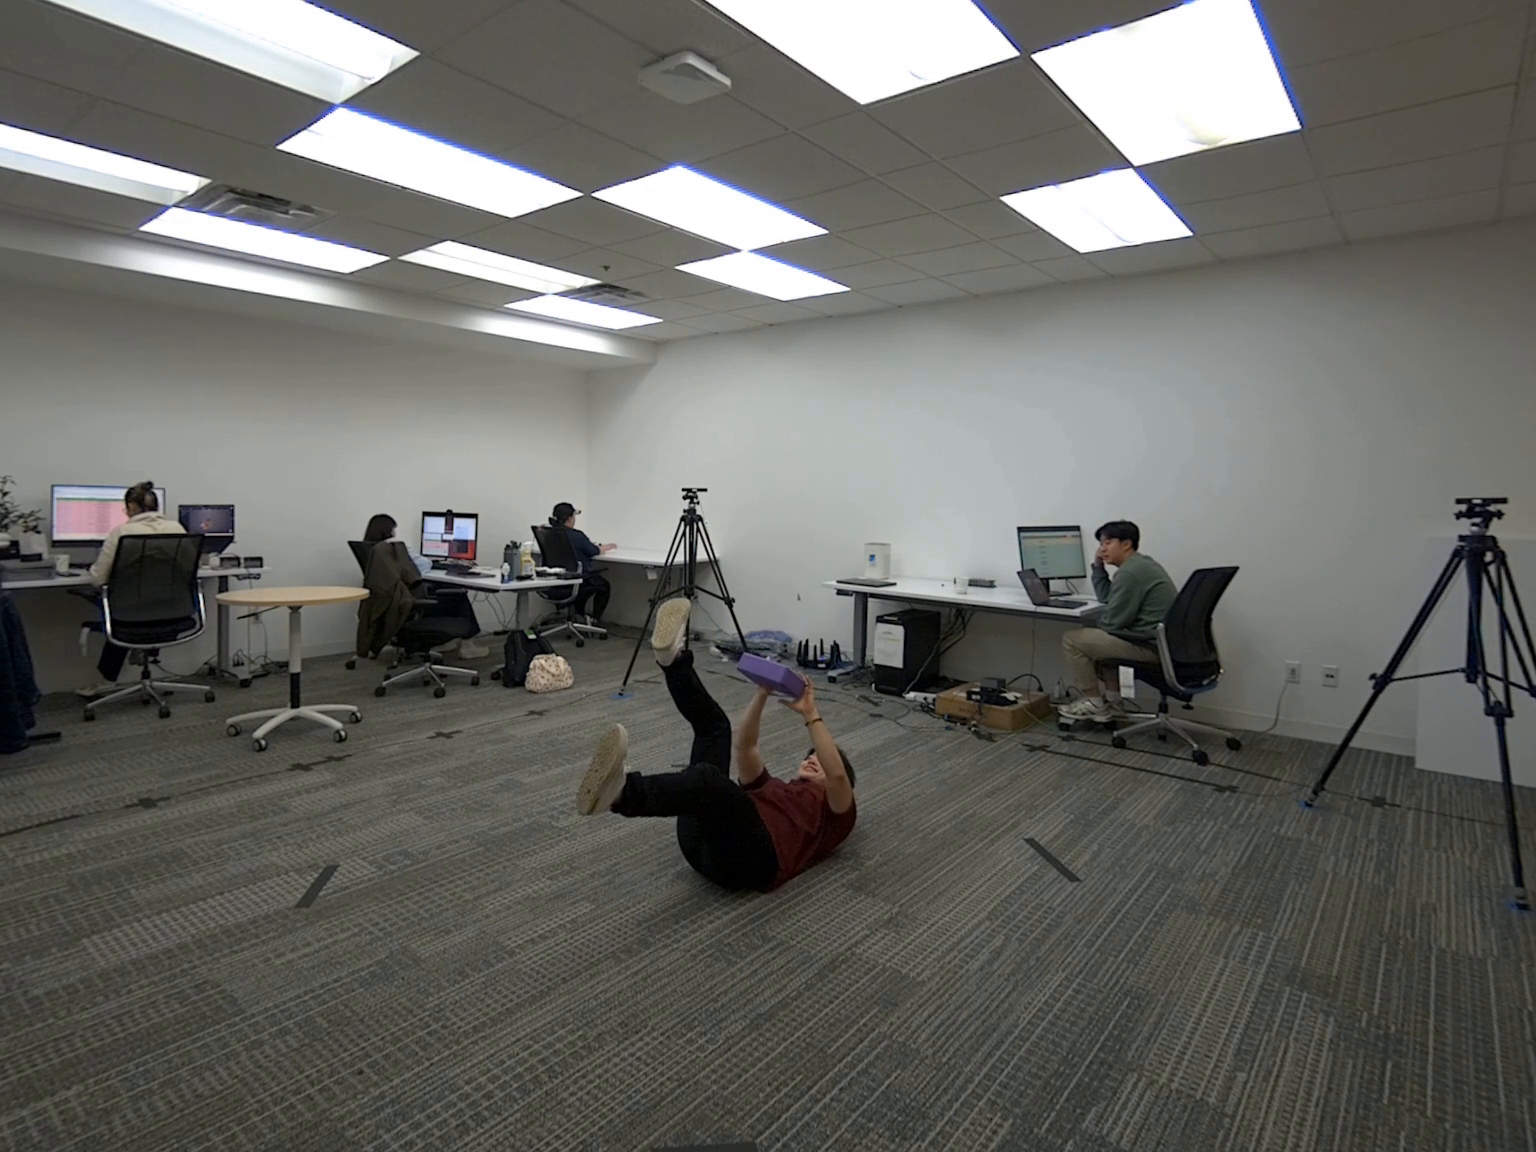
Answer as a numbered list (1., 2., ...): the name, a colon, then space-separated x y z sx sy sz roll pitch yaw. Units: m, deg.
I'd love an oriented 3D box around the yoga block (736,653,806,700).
1. yoga block: -0.003 0.373 3.234 0.238 0.077 0.143 13 -21 42
